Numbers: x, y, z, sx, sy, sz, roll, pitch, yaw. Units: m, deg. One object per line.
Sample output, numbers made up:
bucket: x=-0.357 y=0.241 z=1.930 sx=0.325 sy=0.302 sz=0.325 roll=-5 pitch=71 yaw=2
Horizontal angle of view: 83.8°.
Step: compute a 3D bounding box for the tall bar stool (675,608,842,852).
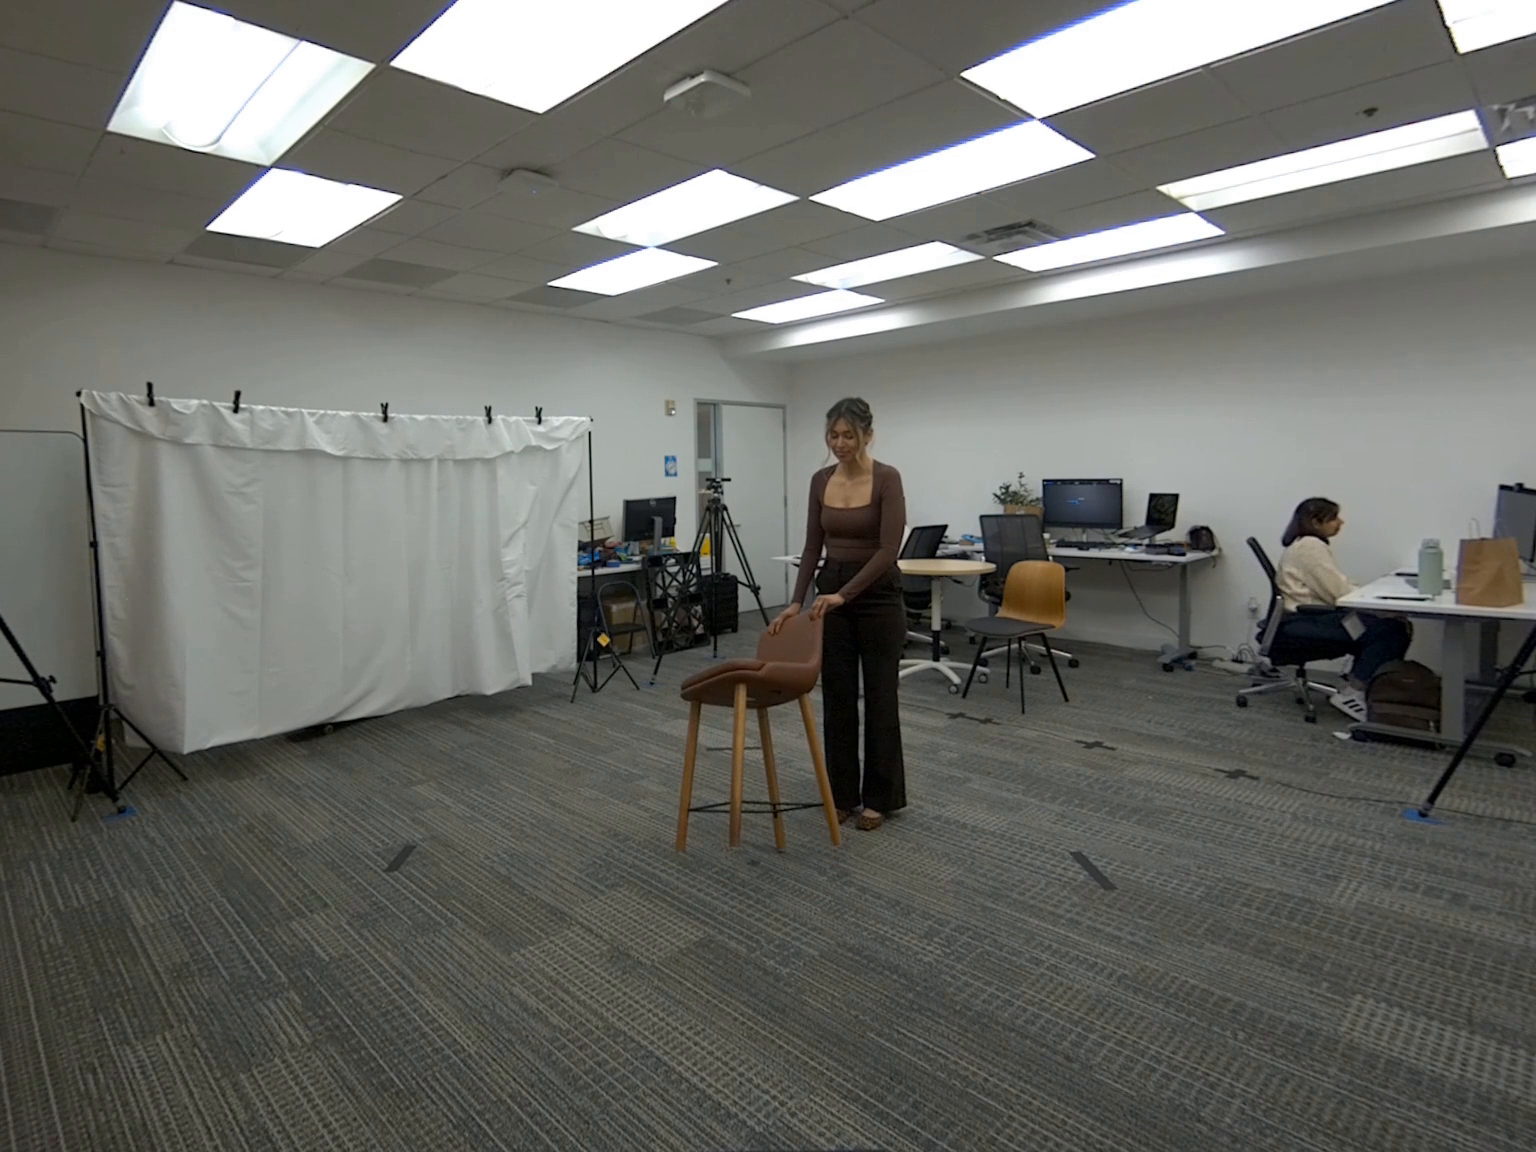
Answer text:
tall bar stool: x=-0.043 y=0.534 z=3.128 sx=0.454 sy=0.907 sz=0.461 roll=12 pitch=-25 yaw=-30
